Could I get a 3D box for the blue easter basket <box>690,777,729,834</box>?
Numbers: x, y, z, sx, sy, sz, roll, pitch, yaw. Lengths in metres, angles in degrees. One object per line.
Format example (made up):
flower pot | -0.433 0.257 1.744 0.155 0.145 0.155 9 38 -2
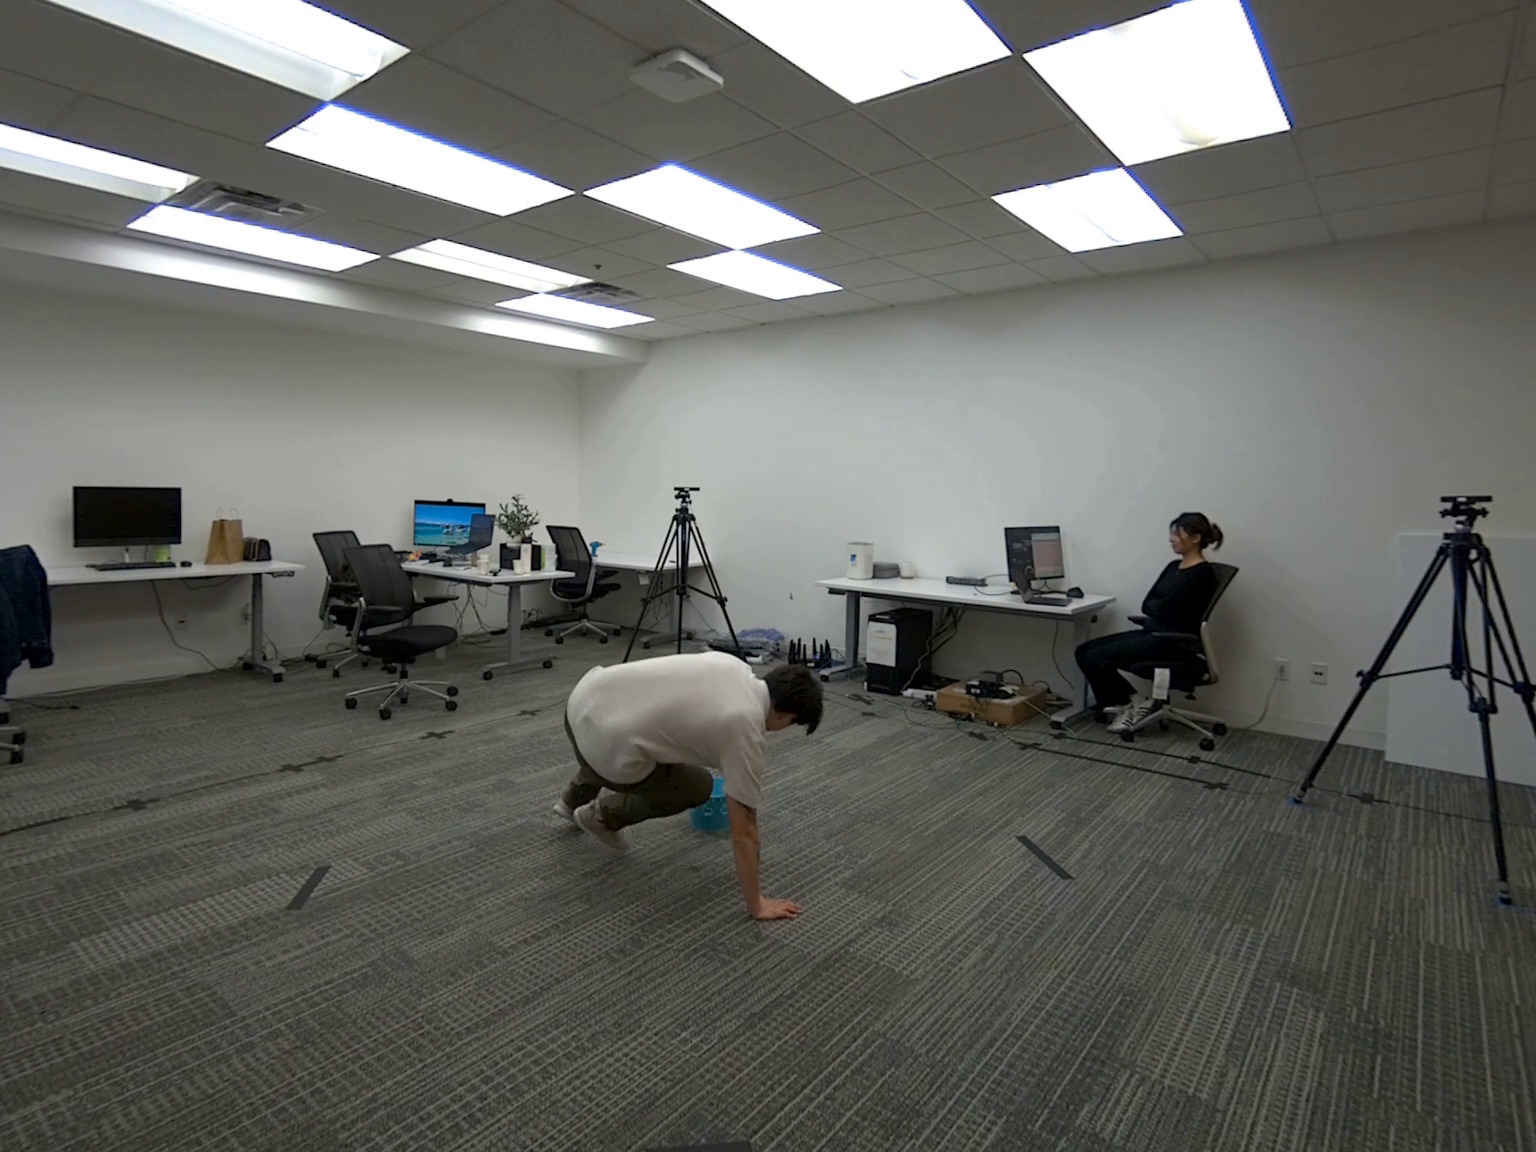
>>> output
blue easter basket | -0.237 0.945 3.540 0.243 0.155 0.245 2 5 -2
